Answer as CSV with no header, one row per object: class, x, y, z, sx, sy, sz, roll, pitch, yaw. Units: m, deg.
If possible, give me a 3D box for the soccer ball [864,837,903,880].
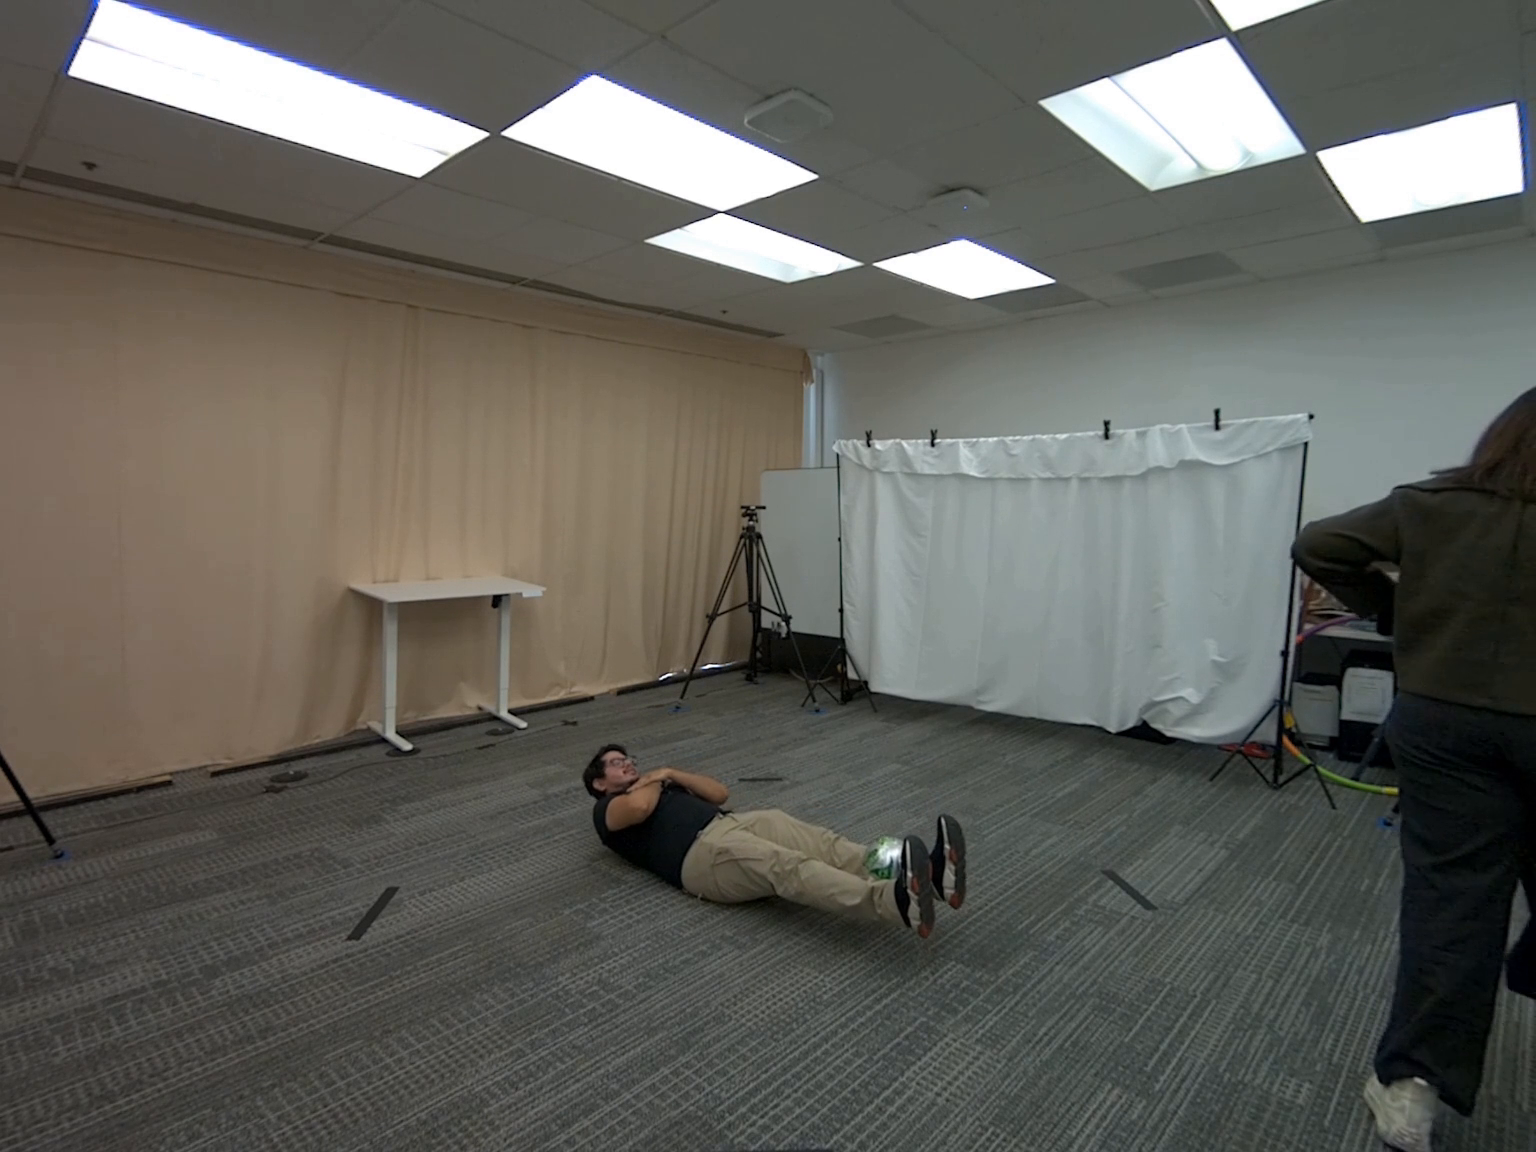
soccer ball,0.404,0.932,2.663,0.187,0.187,0.188,0,4,-2
